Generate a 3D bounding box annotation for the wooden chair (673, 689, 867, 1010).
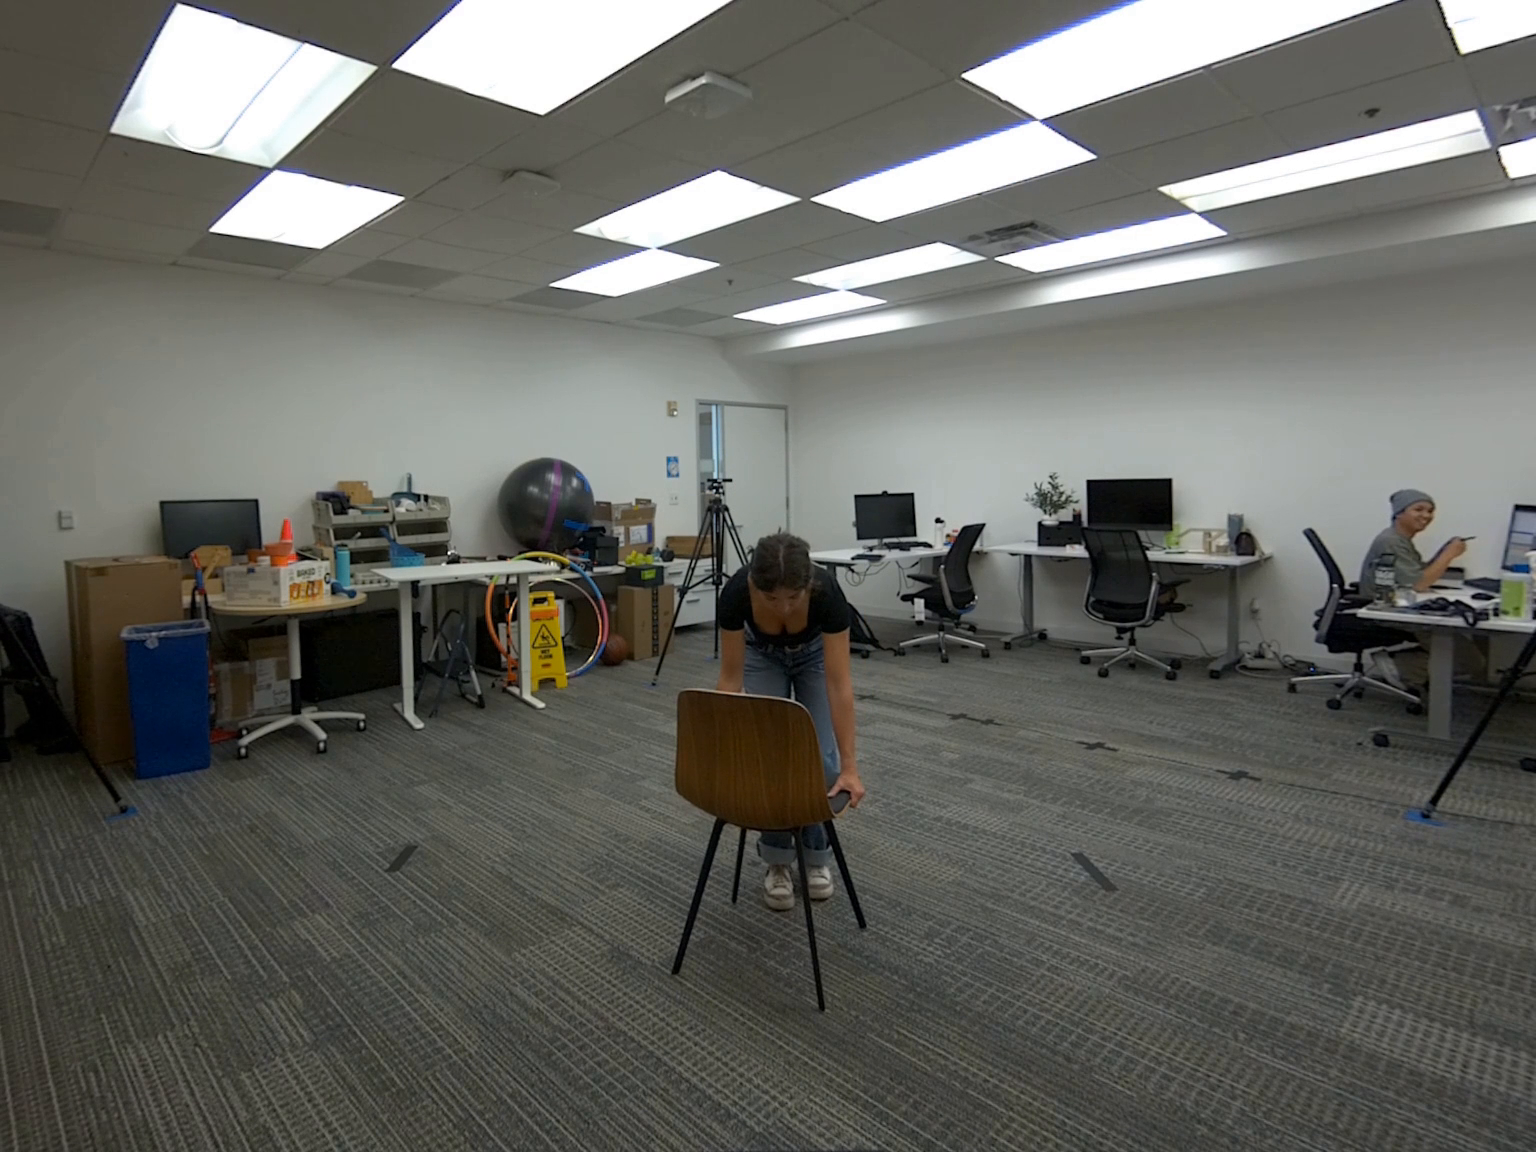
[{"bbox_3d":[0.010,0.689,2.508,0.488,0.870,0.516,1,9,22],"label":"wooden chair"}]
